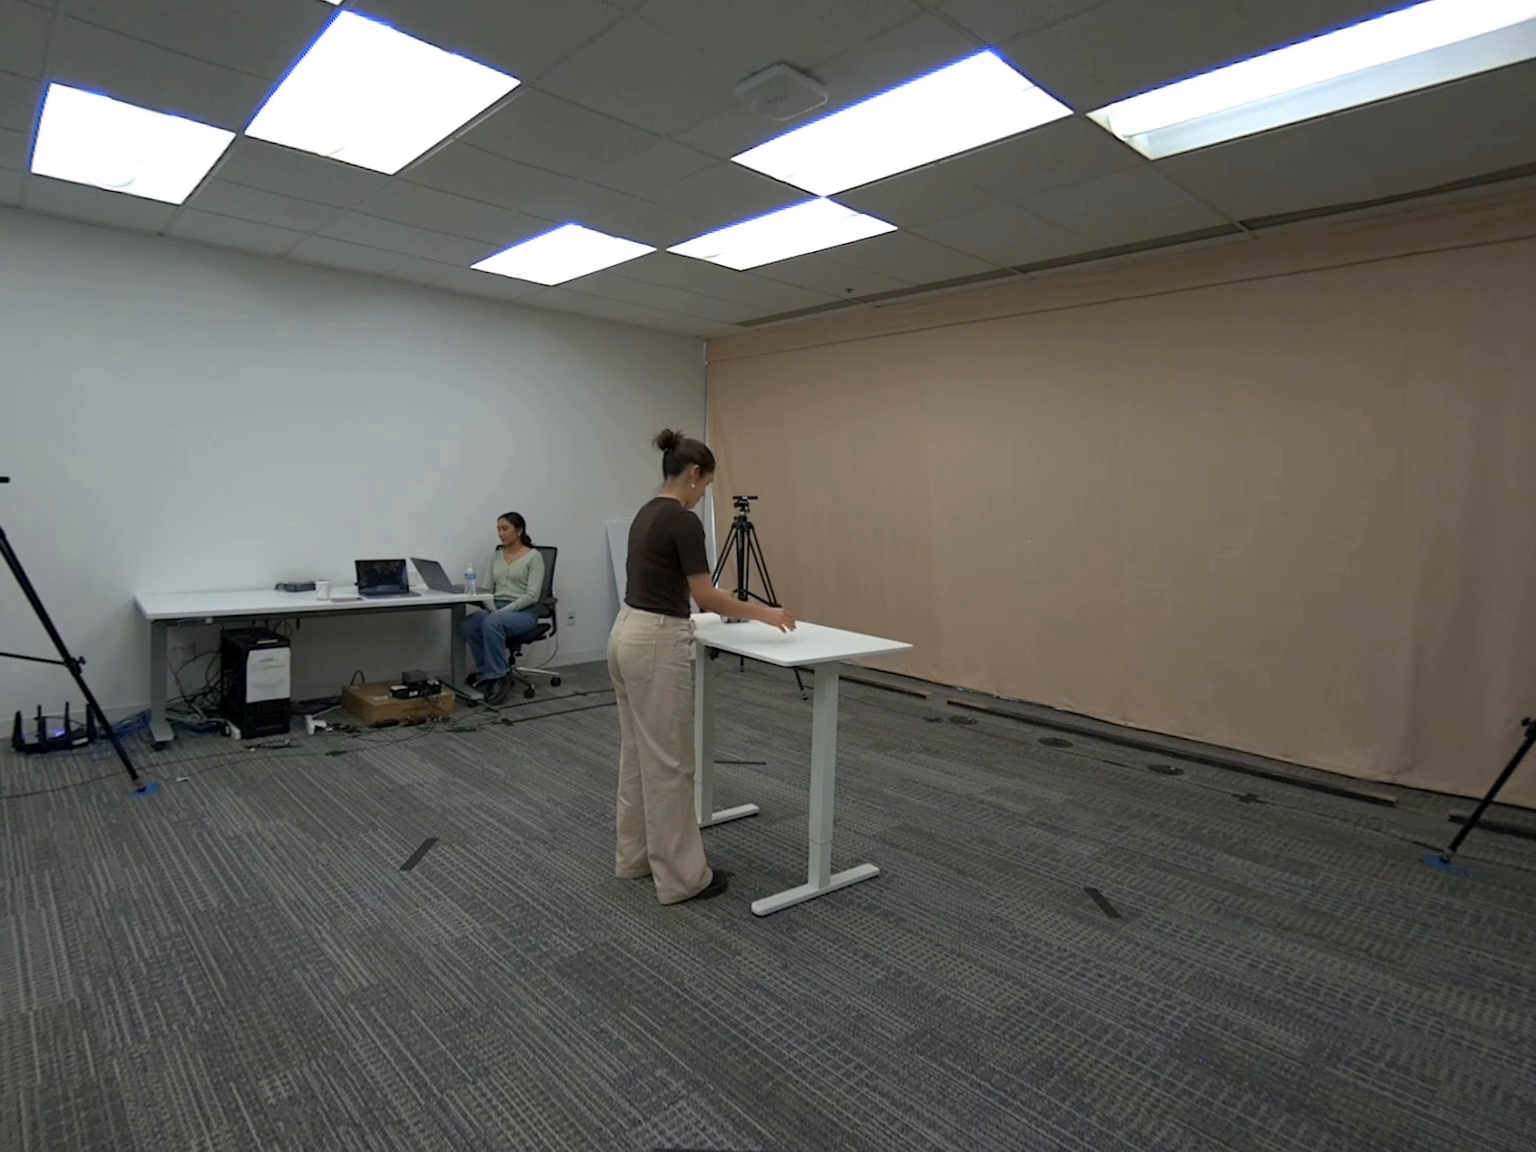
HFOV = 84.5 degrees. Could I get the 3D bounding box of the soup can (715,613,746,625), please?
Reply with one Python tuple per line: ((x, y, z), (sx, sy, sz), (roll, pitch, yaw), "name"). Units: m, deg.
((-0.136, 0.156, 3.433), (0.119, 0.067, 0.068), (-3, 6, -29), "soup can")
